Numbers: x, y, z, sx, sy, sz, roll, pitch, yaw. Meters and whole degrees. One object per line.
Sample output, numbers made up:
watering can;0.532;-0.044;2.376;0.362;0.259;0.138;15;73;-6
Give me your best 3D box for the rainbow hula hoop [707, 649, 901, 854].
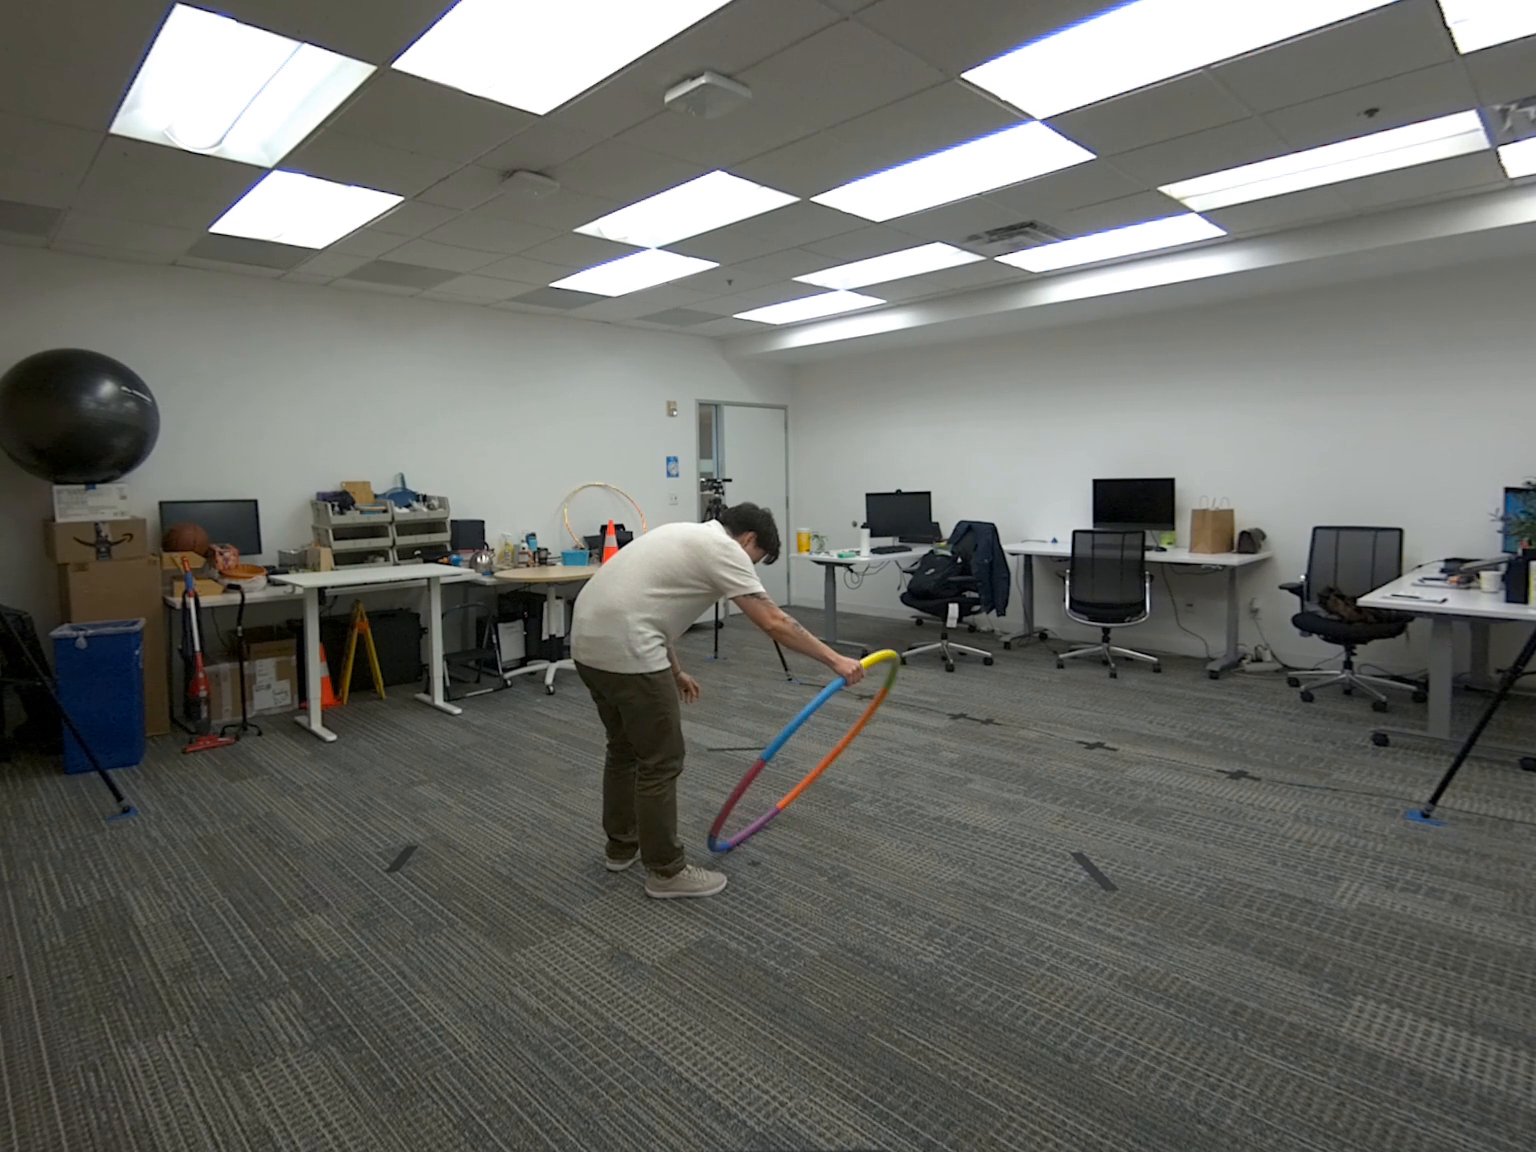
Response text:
rainbow hula hoop;0.136;0.646;3.140;0.036;0.974;0.956;44;25;20
